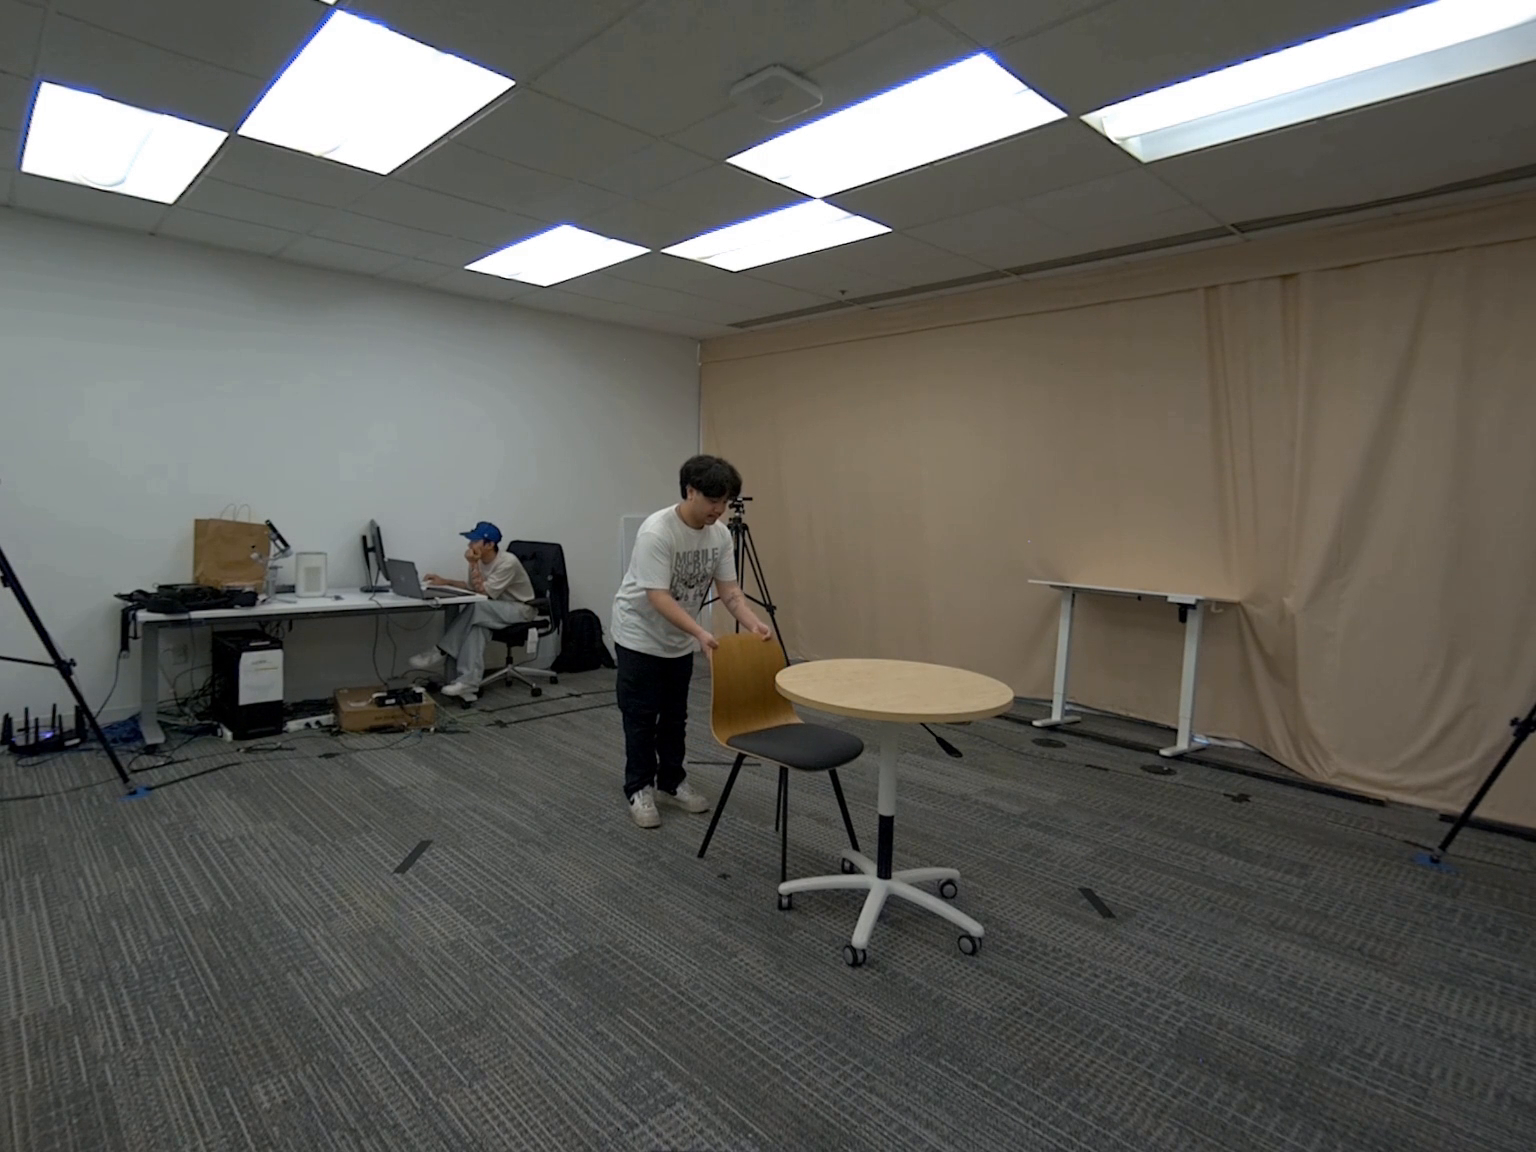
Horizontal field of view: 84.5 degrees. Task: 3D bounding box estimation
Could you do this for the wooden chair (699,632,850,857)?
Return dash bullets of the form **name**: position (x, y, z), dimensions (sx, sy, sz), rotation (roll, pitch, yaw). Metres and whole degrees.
- **wooden chair**: position (0.055, 0.673, 3.211), dimensions (0.467, 0.877, 0.535), rotation (-1, 0, -44)
